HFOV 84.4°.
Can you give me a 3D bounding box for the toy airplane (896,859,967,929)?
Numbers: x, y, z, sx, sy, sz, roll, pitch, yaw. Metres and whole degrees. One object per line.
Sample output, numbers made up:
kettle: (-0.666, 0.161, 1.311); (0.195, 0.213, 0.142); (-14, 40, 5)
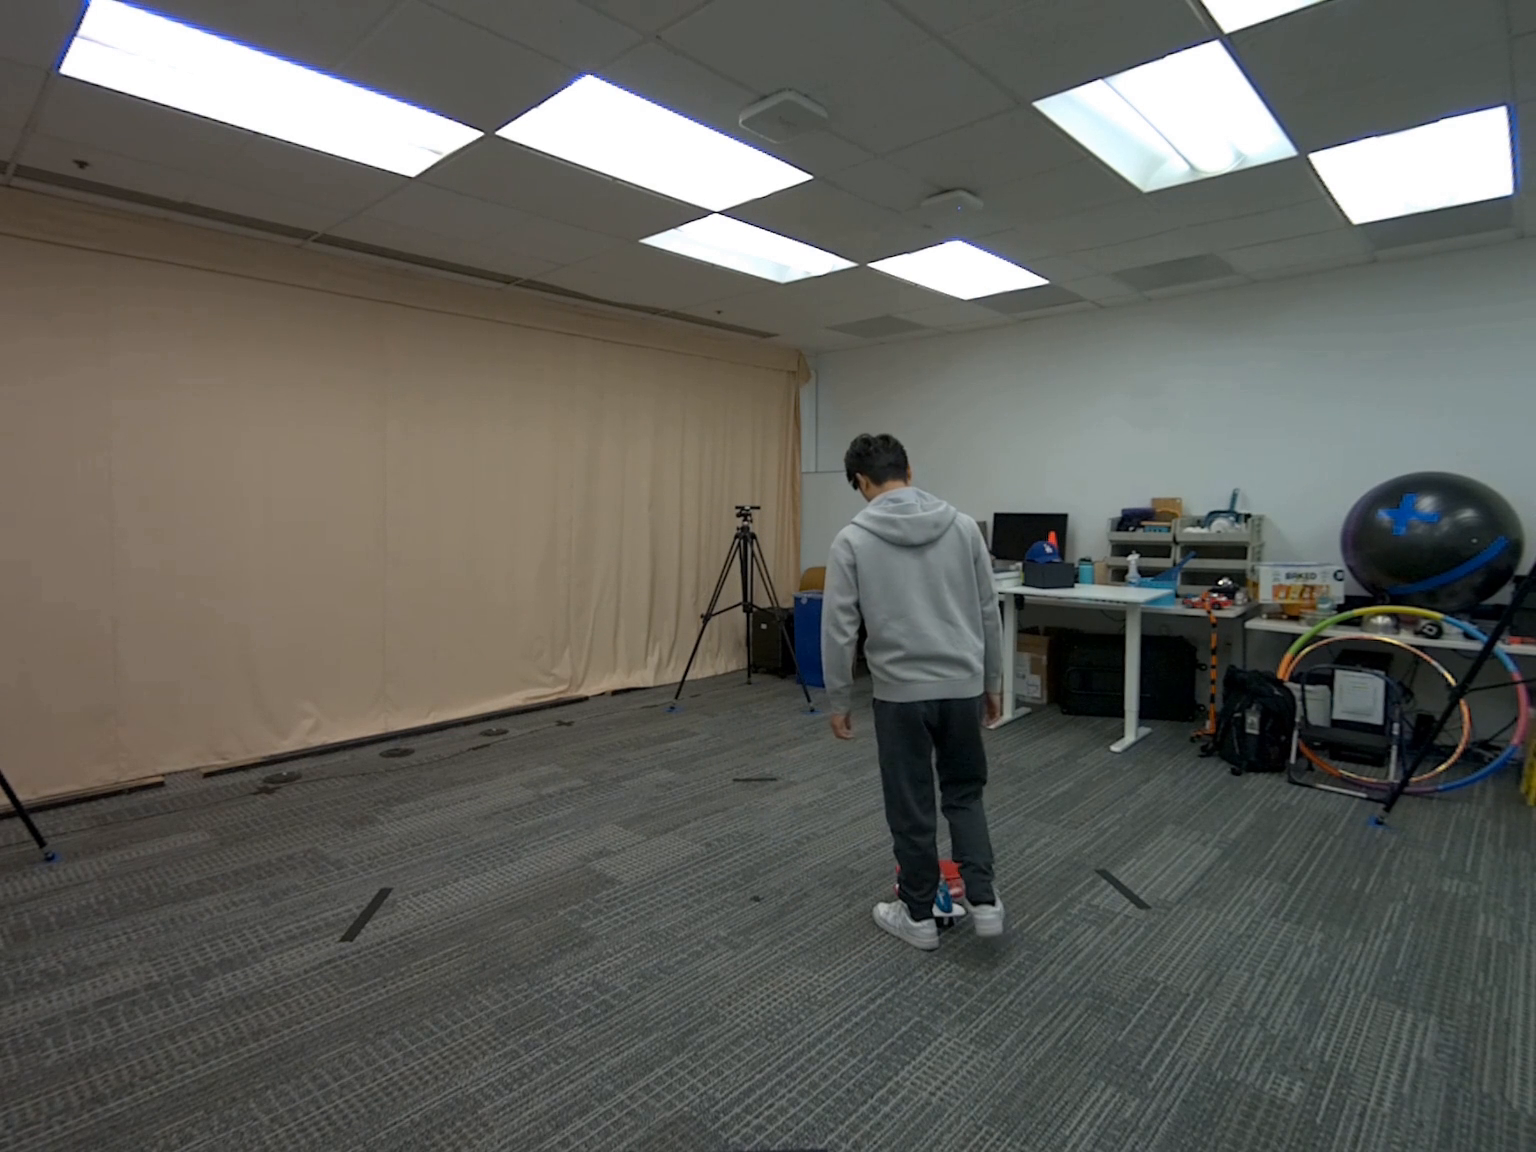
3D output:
toy airplane: (0.589, 1.078, 2.873); (0.244, 0.156, 0.267); (-2, 5, -36)
